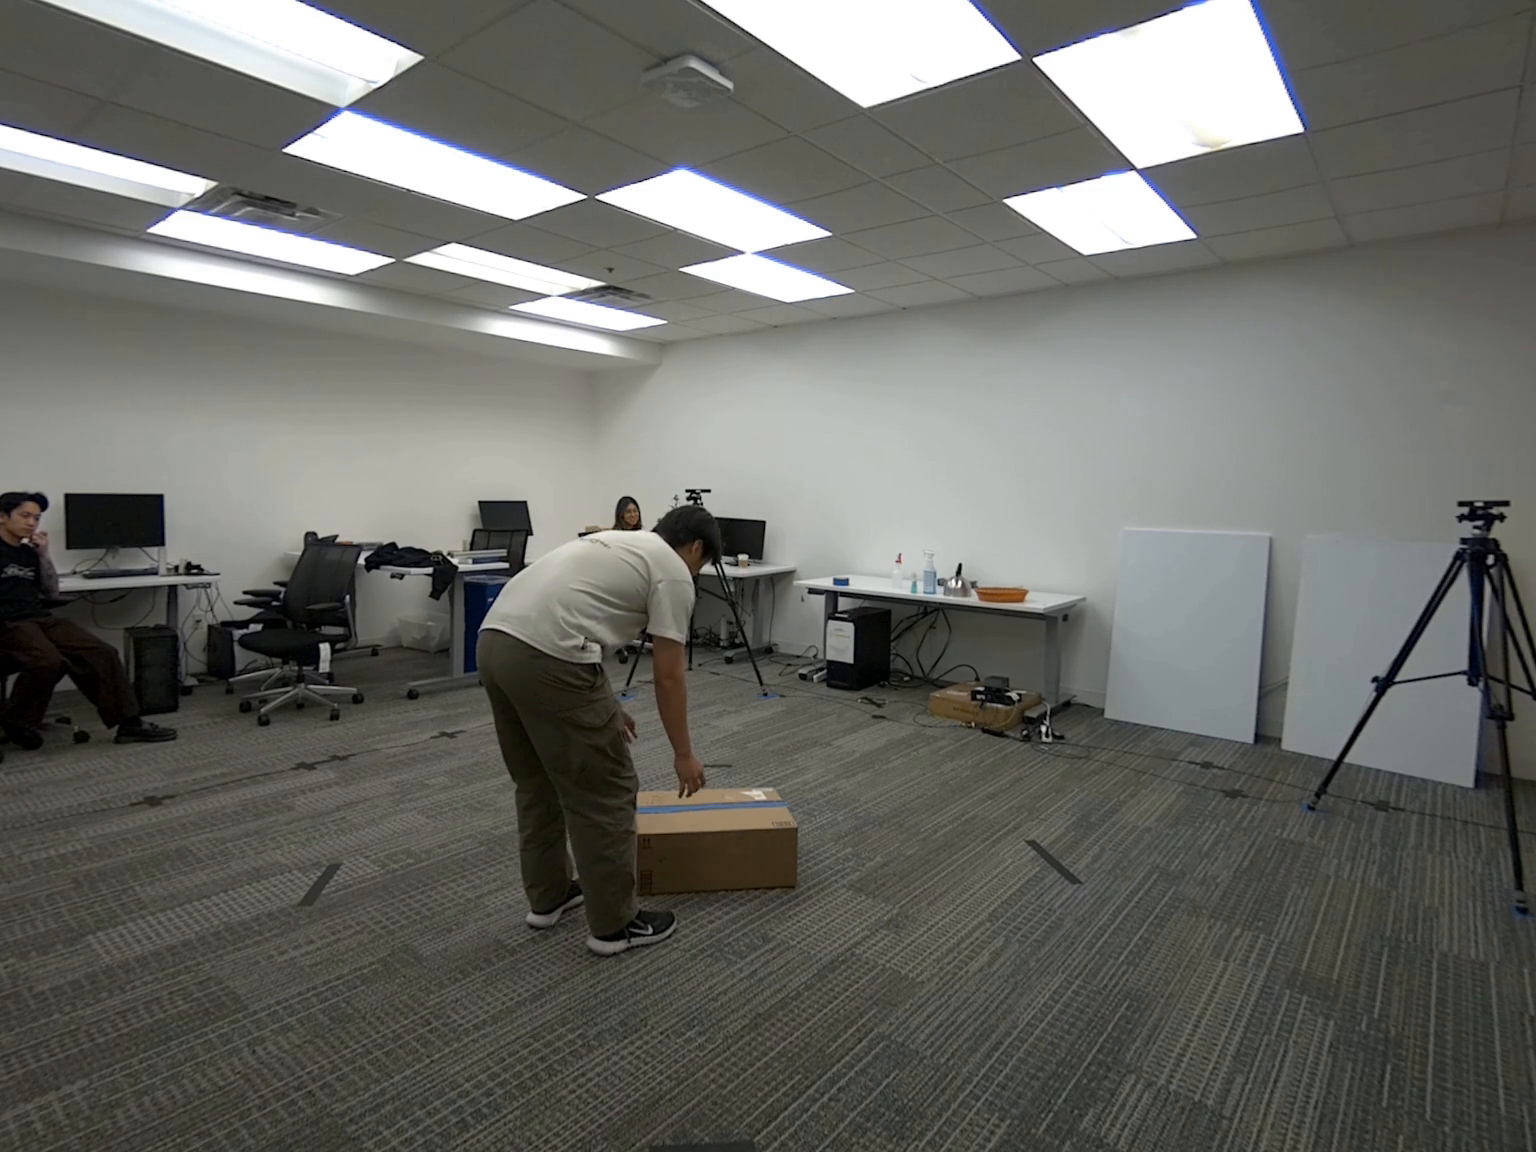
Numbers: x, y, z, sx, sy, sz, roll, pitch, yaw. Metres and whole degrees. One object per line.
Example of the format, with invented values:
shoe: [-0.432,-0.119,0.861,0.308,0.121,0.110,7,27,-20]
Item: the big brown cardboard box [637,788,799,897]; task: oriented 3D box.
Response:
big brown cardboard box: [-0.216,0.958,3.140,0.583,0.232,0.423,-1,5,-10]
